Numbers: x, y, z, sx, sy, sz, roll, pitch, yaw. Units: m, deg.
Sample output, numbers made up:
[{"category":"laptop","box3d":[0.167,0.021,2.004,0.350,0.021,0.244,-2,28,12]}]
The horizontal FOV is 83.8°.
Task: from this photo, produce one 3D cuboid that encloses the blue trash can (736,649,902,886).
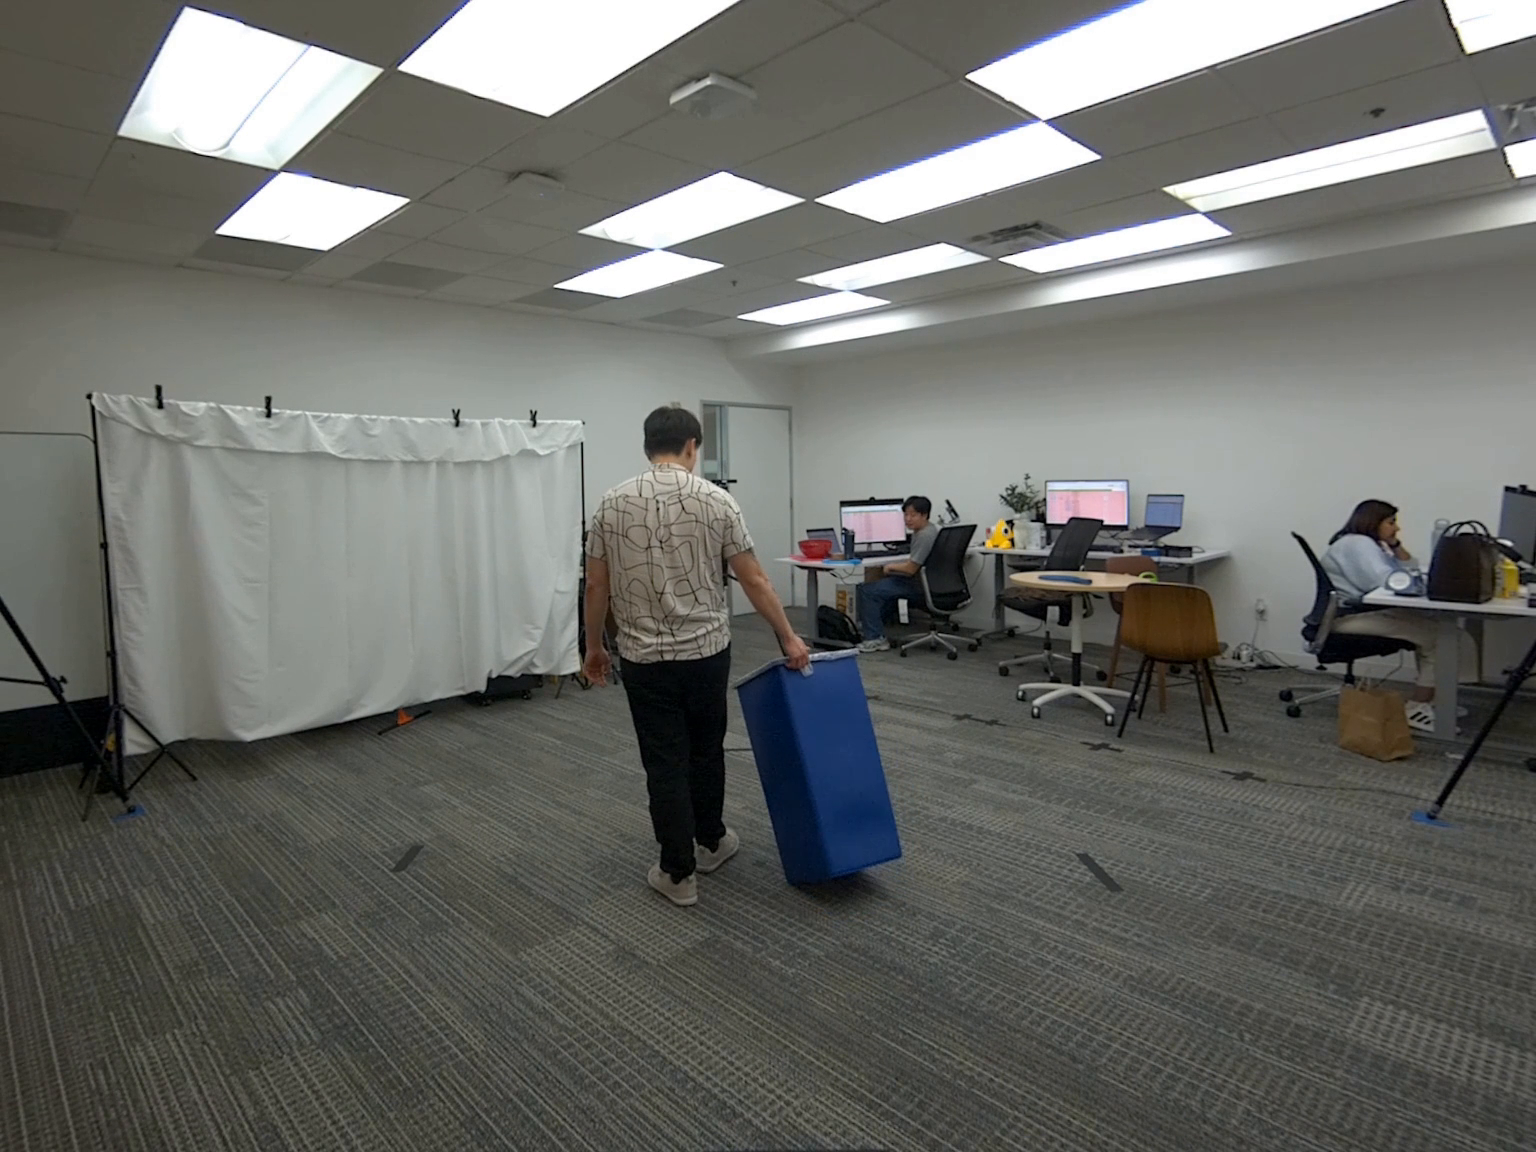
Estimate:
[{"category":"blue trash can","box3d":[0.177,0.670,3.034,0.369,0.728,0.376,-3,-21,-30]}]
